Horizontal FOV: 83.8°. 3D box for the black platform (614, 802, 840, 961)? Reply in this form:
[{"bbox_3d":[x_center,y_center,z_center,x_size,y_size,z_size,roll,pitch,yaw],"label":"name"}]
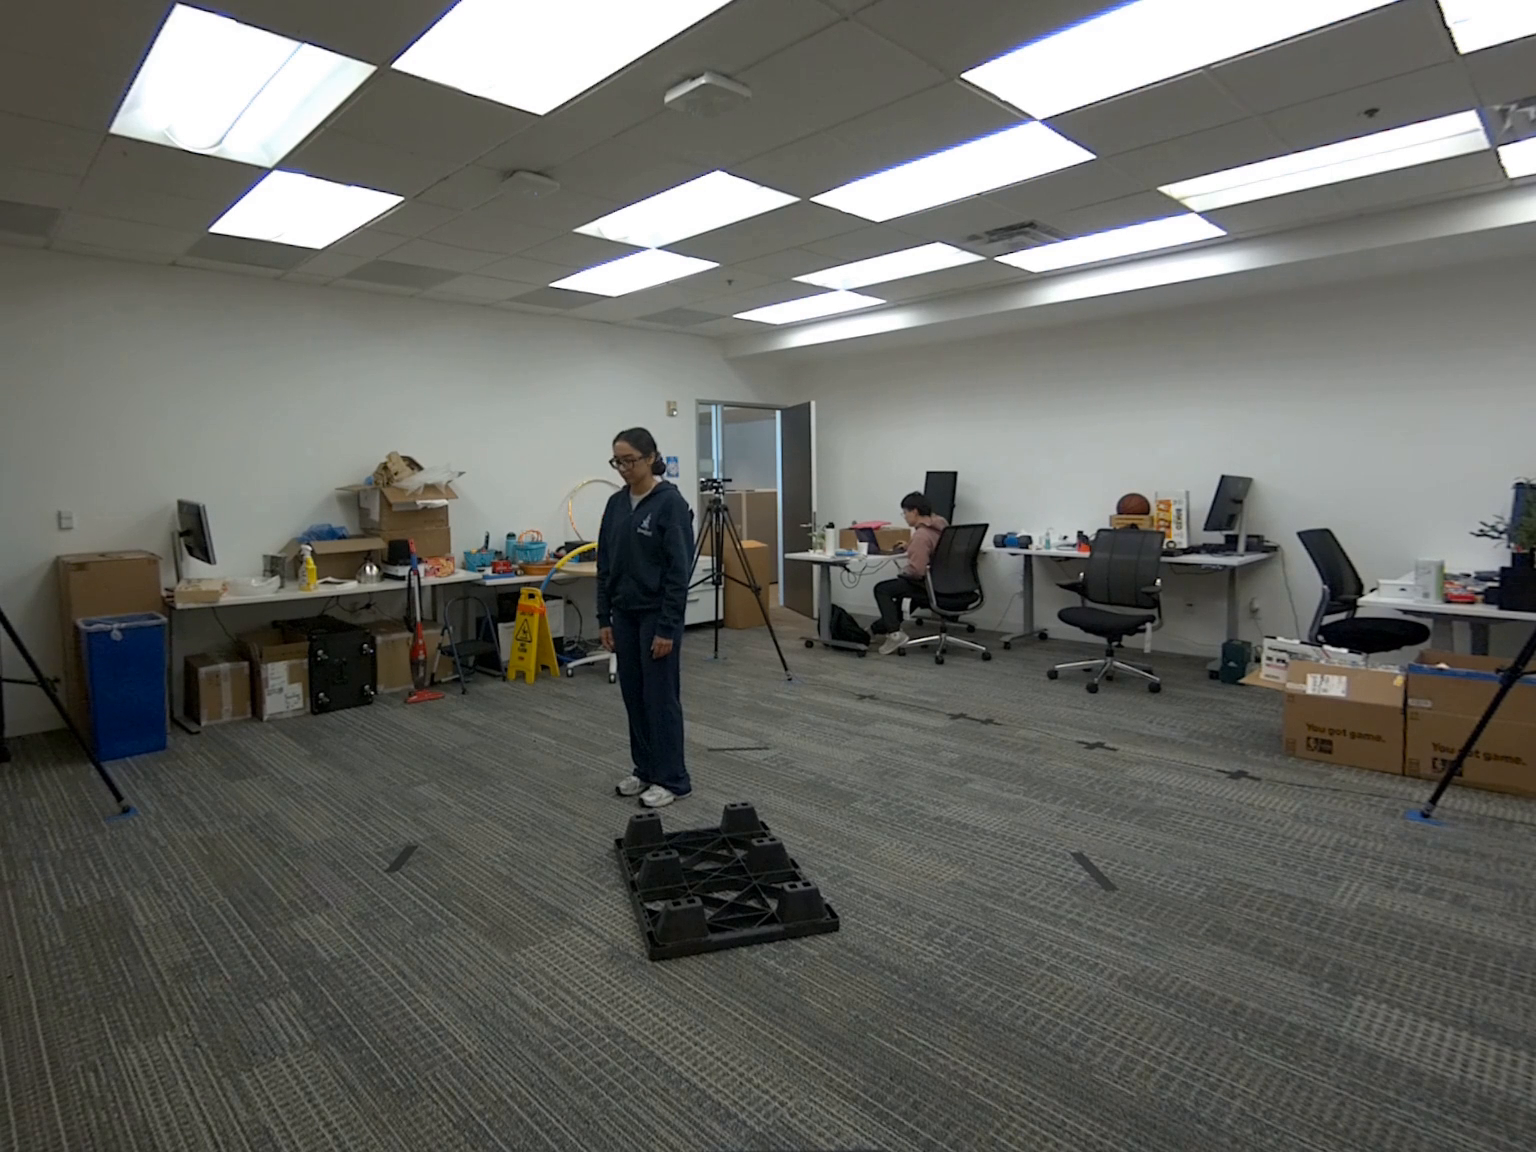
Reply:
[{"bbox_3d":[-0.175,0.997,2.933,0.596,0.142,0.822,-4,7,-17],"label":"black platform"}]
